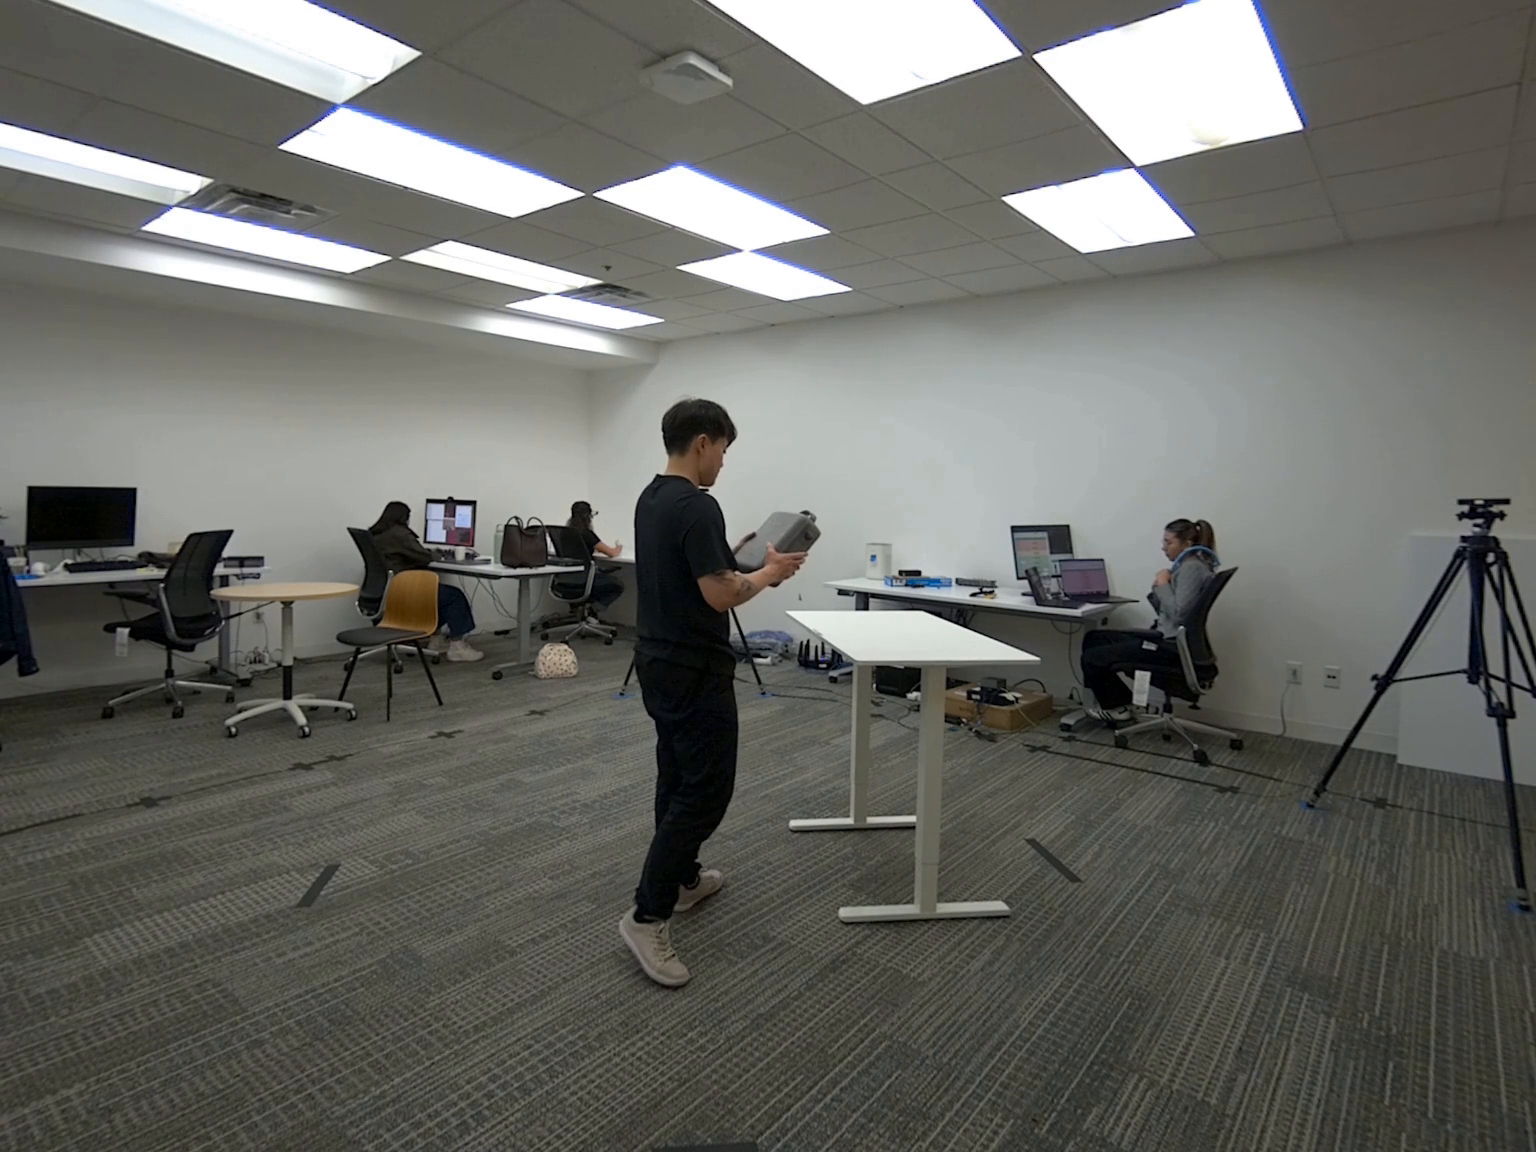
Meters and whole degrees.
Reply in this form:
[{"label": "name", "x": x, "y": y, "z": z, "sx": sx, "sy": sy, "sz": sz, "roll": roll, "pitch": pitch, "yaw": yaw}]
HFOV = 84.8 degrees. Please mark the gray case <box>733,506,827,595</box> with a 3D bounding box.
[{"label": "gray case", "x": 0.019, "y": -0.093, "z": 2.786, "sx": 0.102, "sy": 0.260, "sz": 0.263, "roll": 45, "pitch": -8, "yaw": -19}]
